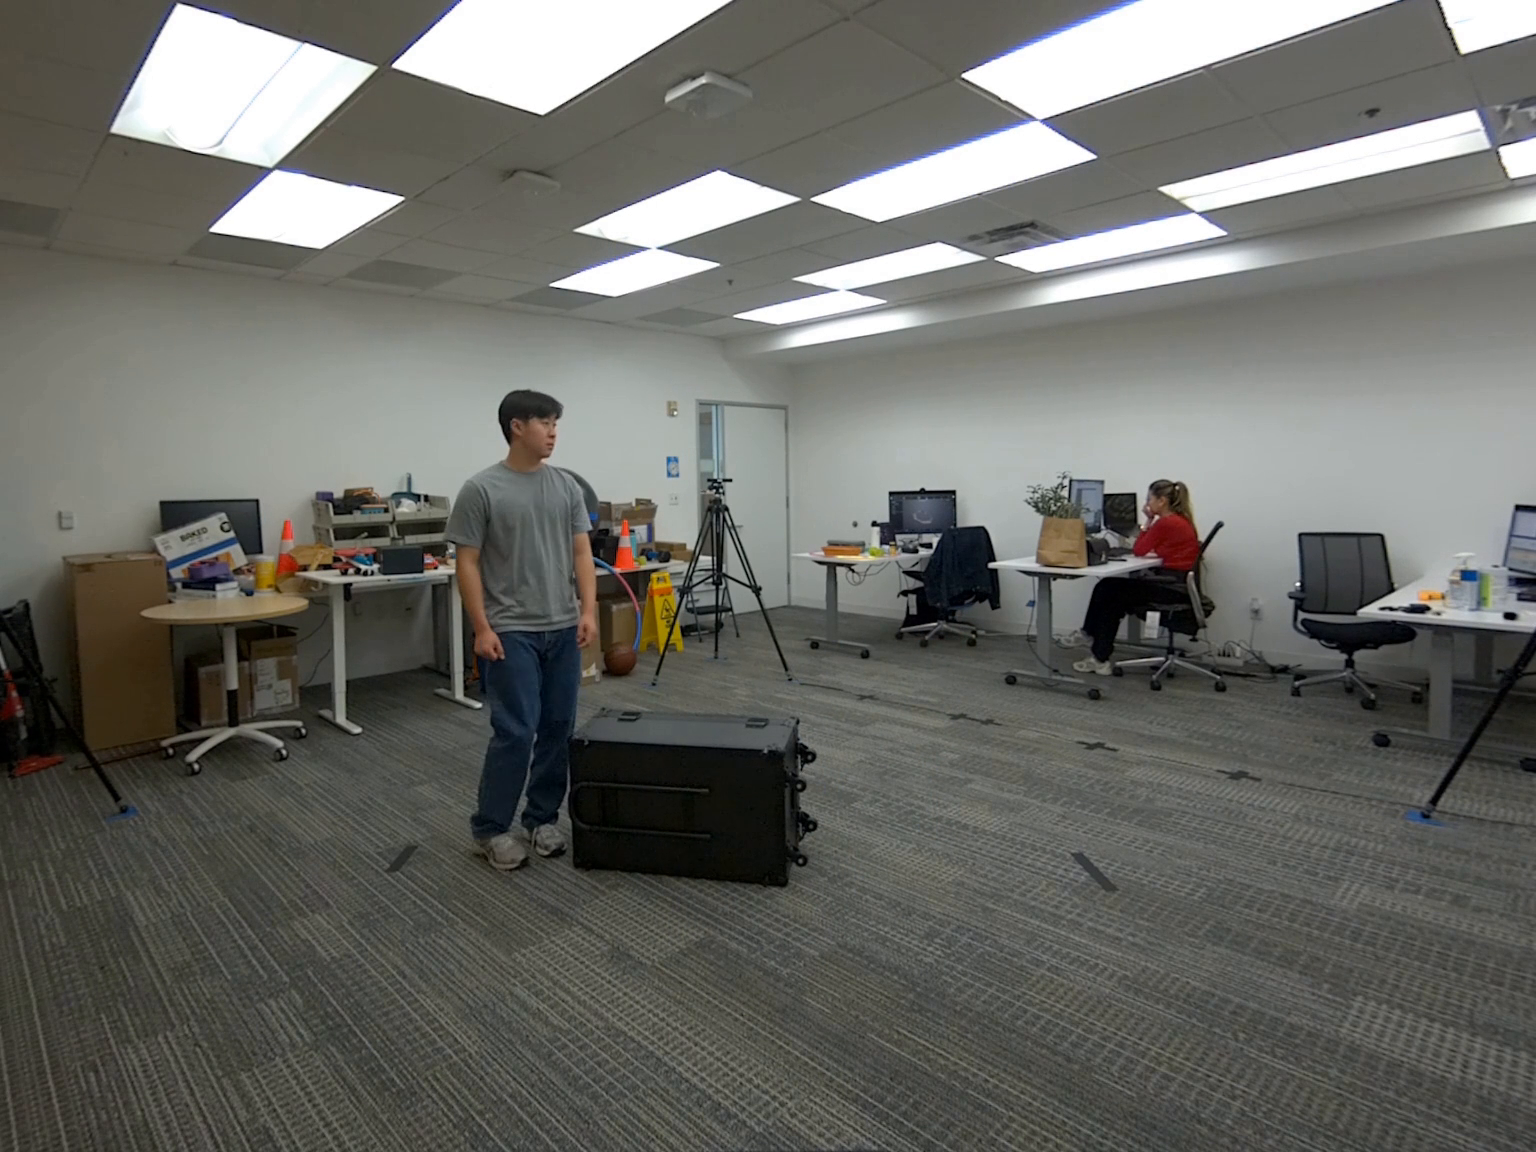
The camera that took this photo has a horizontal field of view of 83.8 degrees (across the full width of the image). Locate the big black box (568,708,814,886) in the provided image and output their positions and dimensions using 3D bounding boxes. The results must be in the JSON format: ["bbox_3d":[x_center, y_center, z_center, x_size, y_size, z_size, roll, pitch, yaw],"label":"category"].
[{"bbox_3d":[-0.325,0.791,3.145,0.873,0.519,0.393,0,6,13],"label":"big black box"}]
